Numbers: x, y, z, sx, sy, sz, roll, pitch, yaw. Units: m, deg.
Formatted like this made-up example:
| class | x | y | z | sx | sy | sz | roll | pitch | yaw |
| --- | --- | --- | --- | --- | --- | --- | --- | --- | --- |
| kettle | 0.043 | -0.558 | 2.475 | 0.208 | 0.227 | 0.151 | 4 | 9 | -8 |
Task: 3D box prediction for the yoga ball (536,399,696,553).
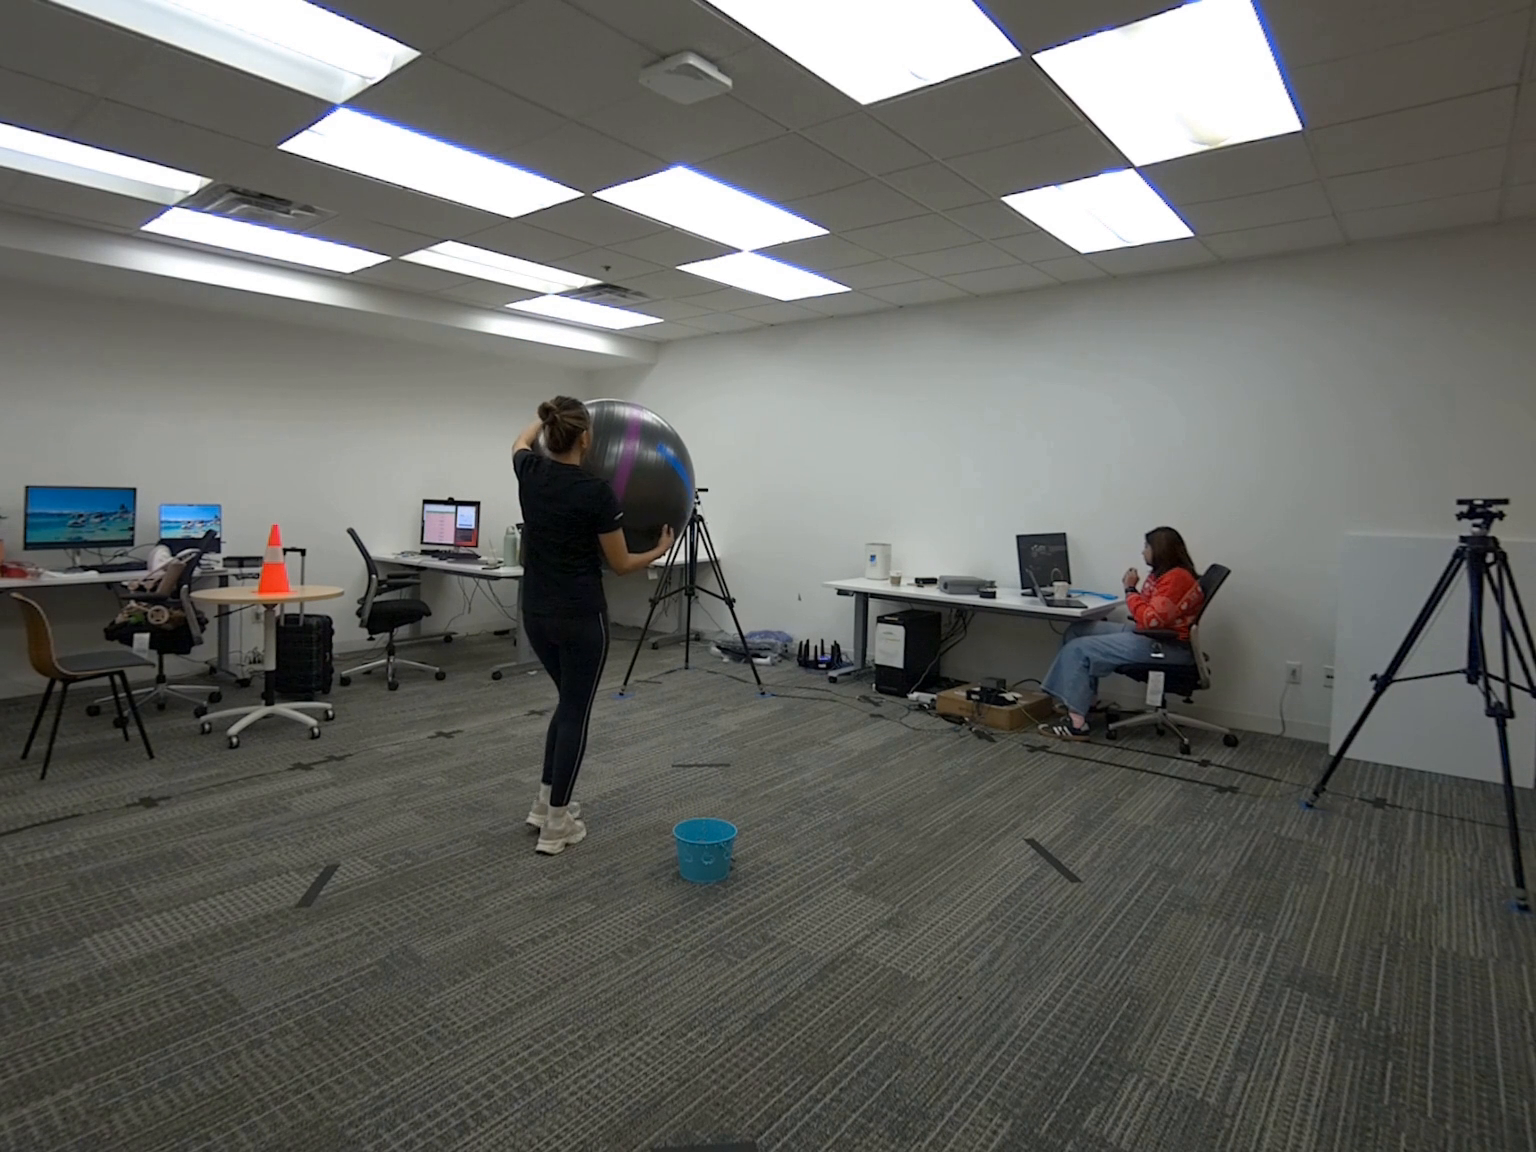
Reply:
| class | x | y | z | sx | sy | sz | roll | pitch | yaw |
| --- | --- | --- | --- | --- | --- | --- | --- | --- | --- |
| yoga ball | -0.716 | -0.395 | 3.747 | 0.757 | 0.756 | 0.761 | 1 | 4 | -2 |
